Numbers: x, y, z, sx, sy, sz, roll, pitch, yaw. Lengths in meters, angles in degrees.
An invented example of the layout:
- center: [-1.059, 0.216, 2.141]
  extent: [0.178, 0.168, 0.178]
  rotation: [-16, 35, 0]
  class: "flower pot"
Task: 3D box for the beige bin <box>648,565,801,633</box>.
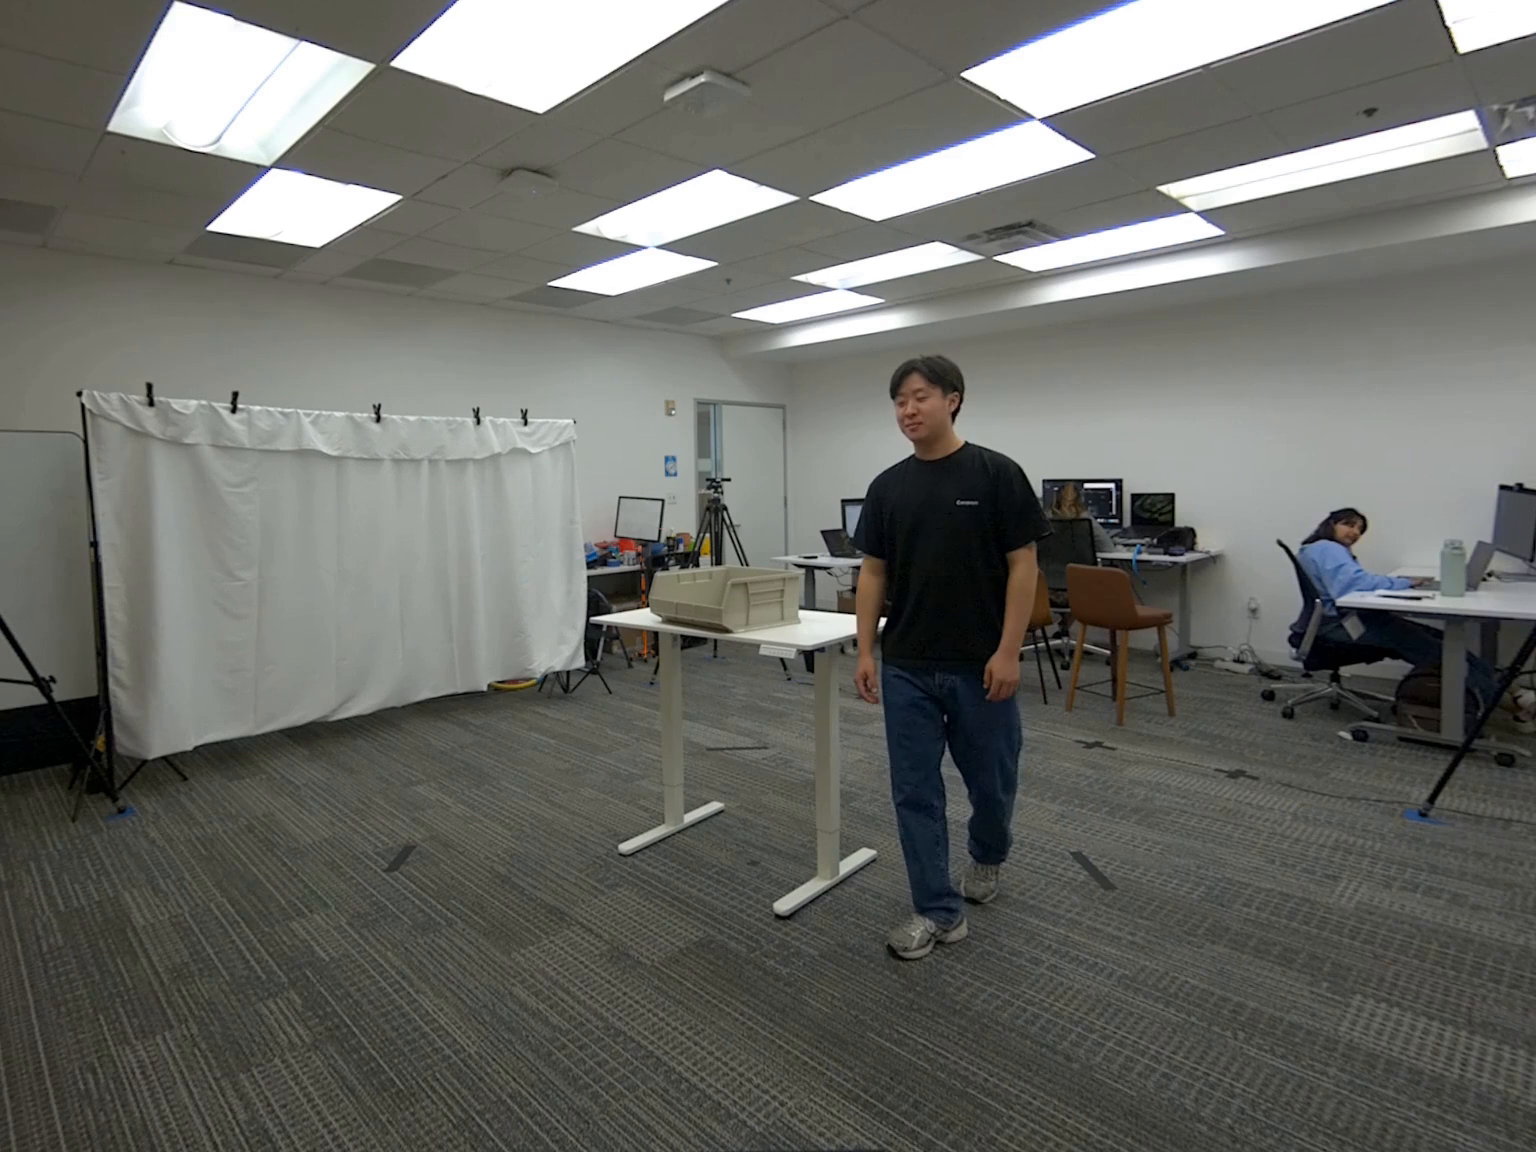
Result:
- center: [-0.148, 0.078, 3.042]
  extent: [0.367, 0.188, 0.435]
  rotation: [-4, 6, -42]
  class: "beige bin"
